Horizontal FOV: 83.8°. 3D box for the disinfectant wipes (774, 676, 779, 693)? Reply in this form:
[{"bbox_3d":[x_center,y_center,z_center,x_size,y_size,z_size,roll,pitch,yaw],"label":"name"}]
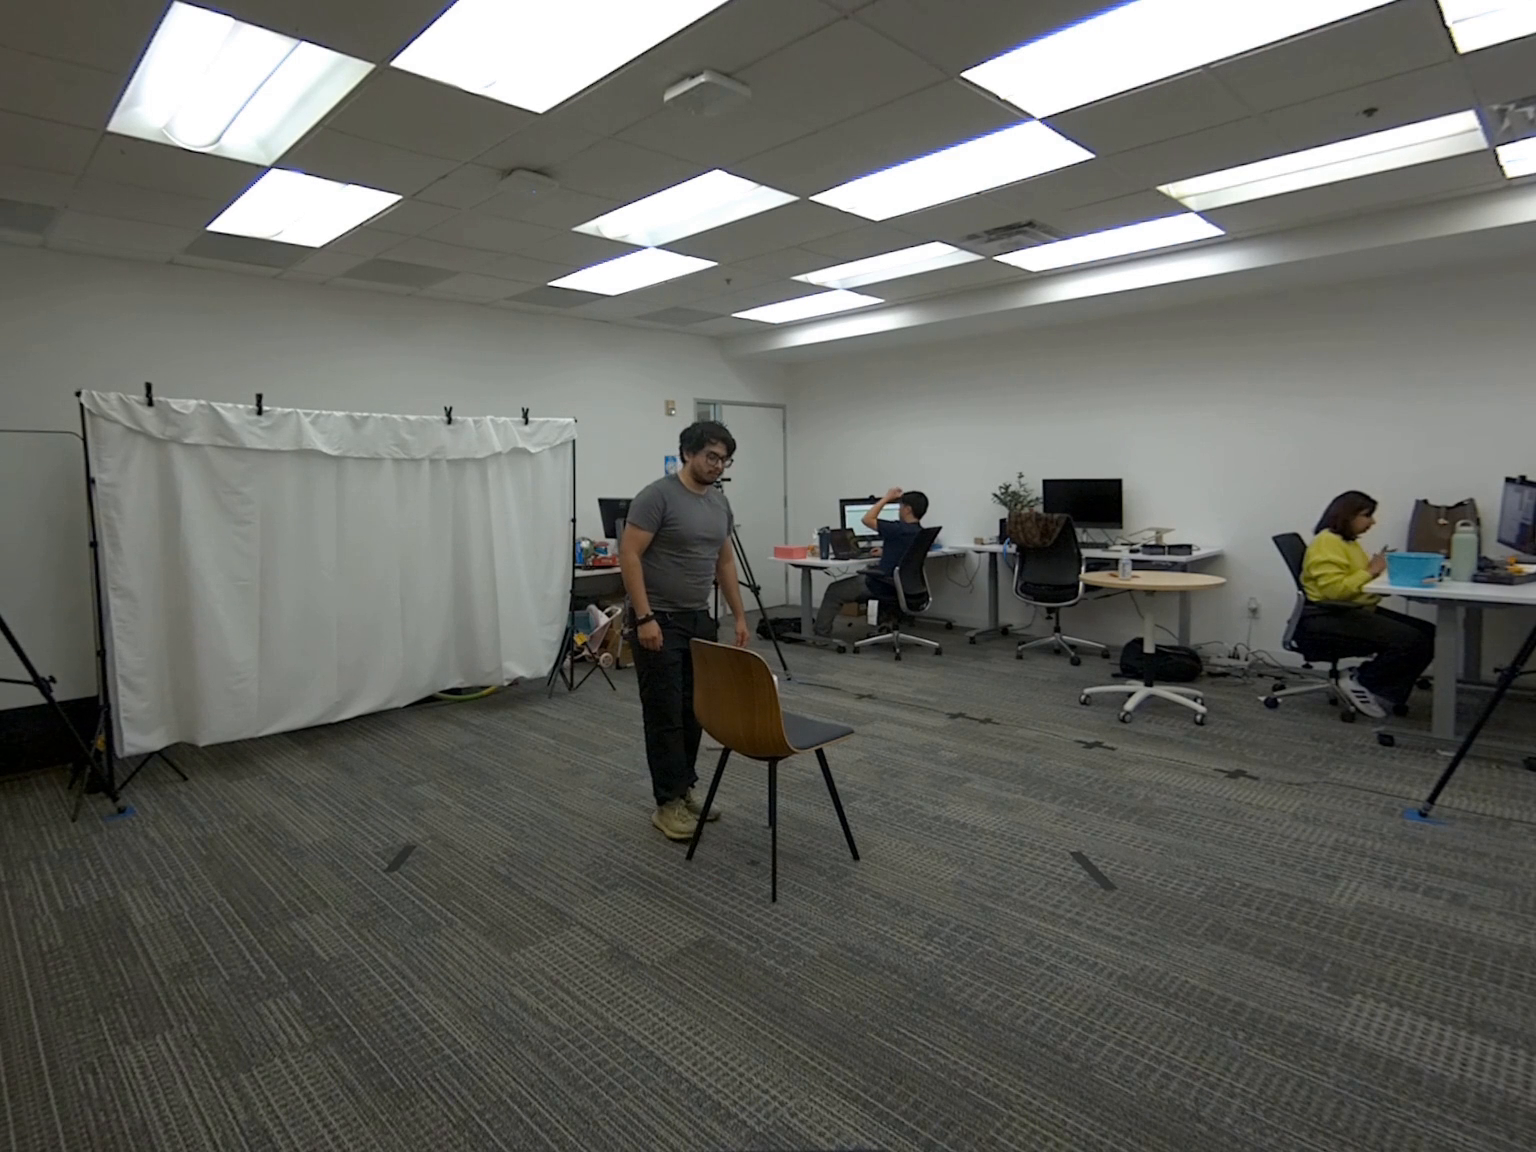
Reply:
[{"bbox_3d":[-0.011,0.468,3.058,0.118,0.217,0.118,-2,4,-1],"label":"disinfectant wipes"}]
